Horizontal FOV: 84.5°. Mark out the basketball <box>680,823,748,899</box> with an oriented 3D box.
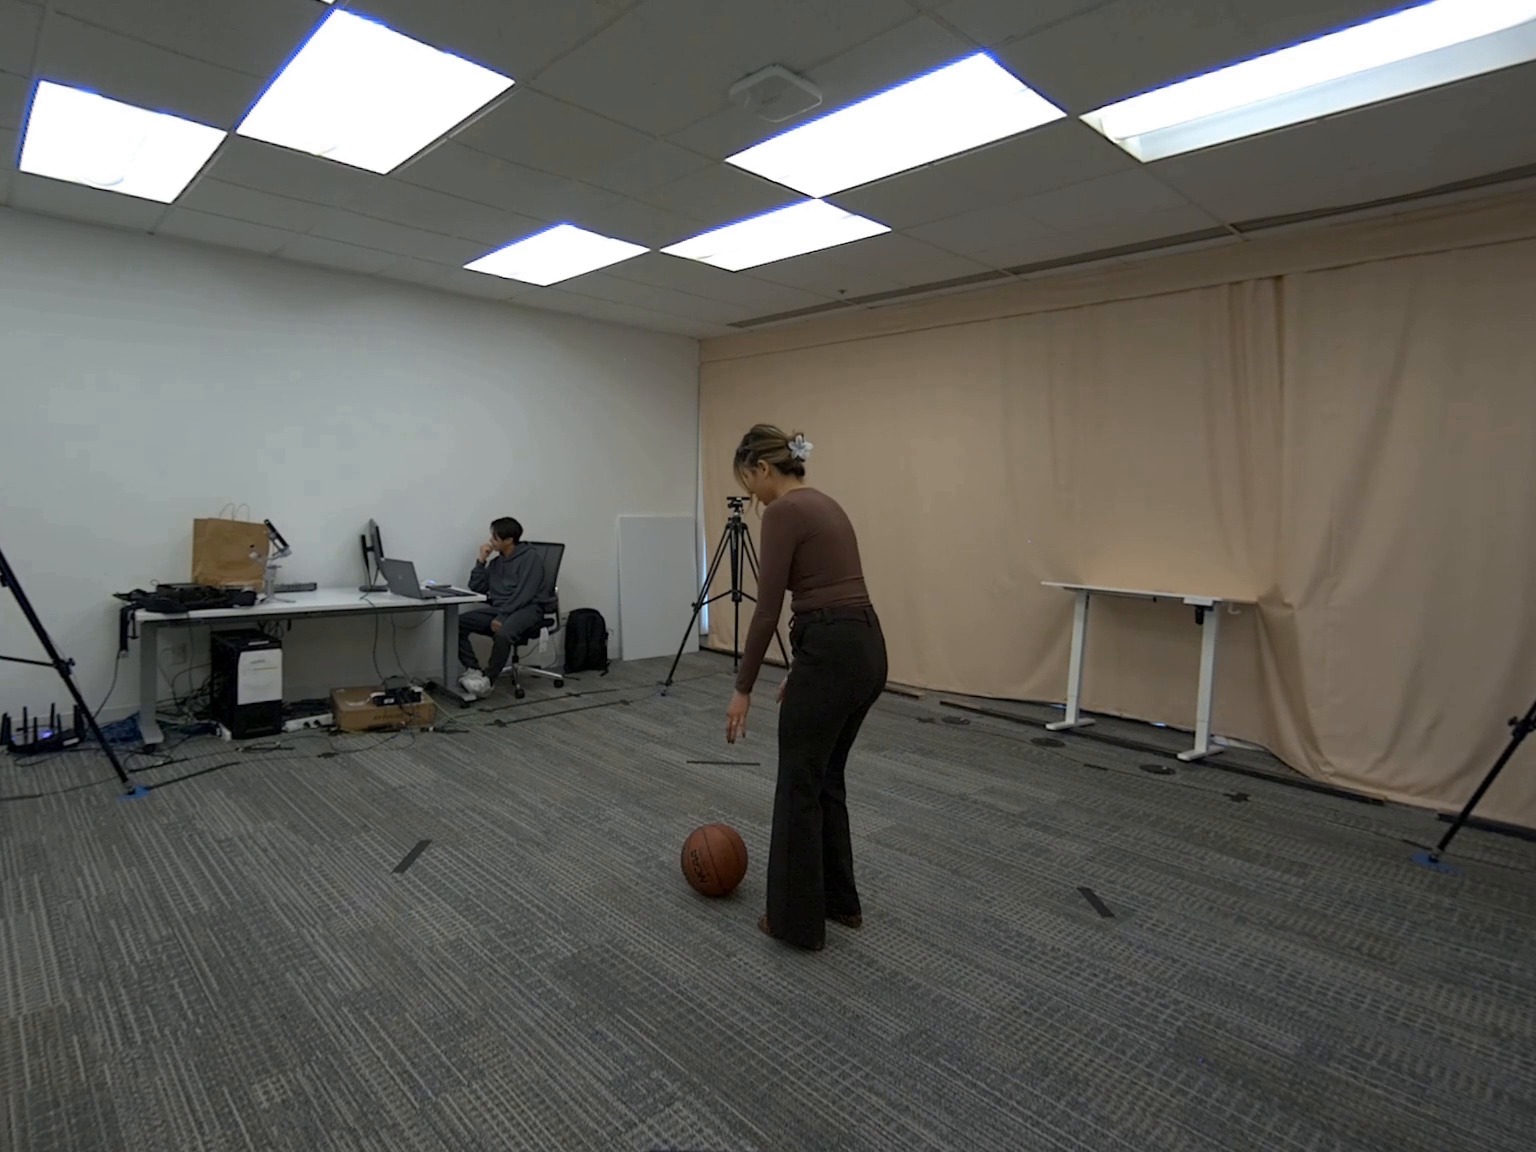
[{"bbox_3d":[-0.195,0.997,2.969,0.236,0.235,0.237,1,4,-1],"label":"basketball"}]
